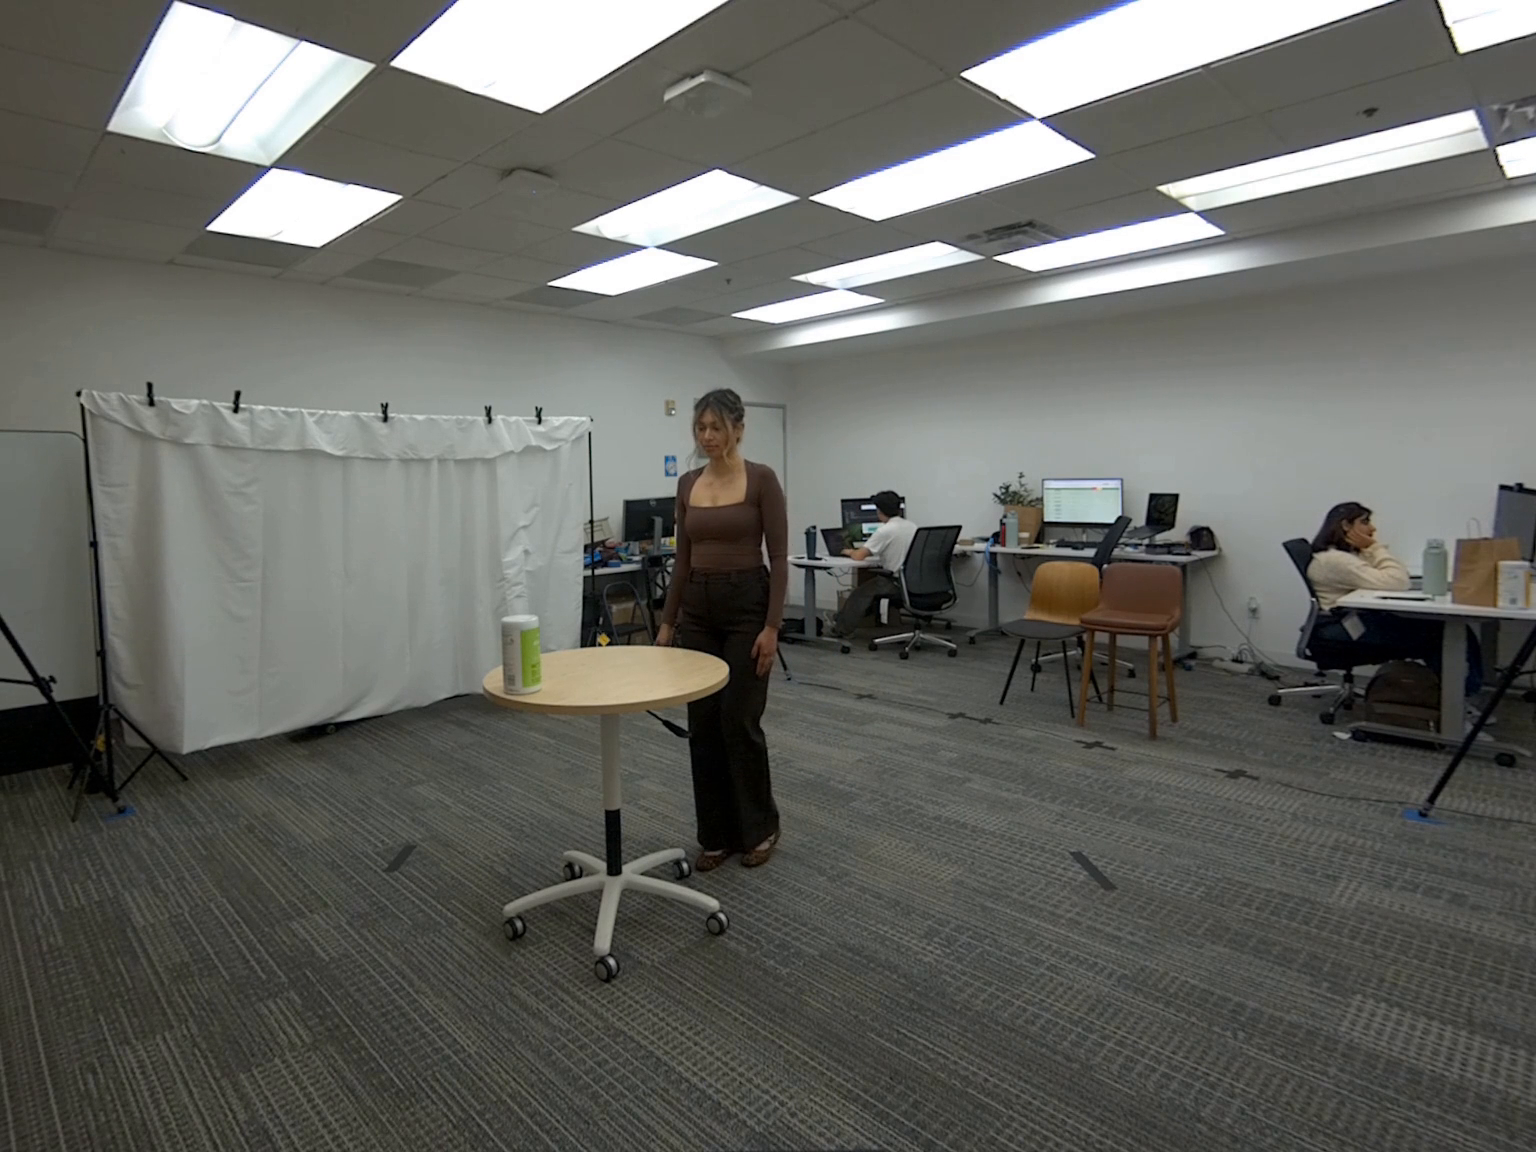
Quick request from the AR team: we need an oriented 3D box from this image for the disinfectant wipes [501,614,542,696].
[{"bbox_3d":[-0.717,0.231,2.469,0.118,0.216,0.118,-2,5,-1],"label":"disinfectant wipes"}]
